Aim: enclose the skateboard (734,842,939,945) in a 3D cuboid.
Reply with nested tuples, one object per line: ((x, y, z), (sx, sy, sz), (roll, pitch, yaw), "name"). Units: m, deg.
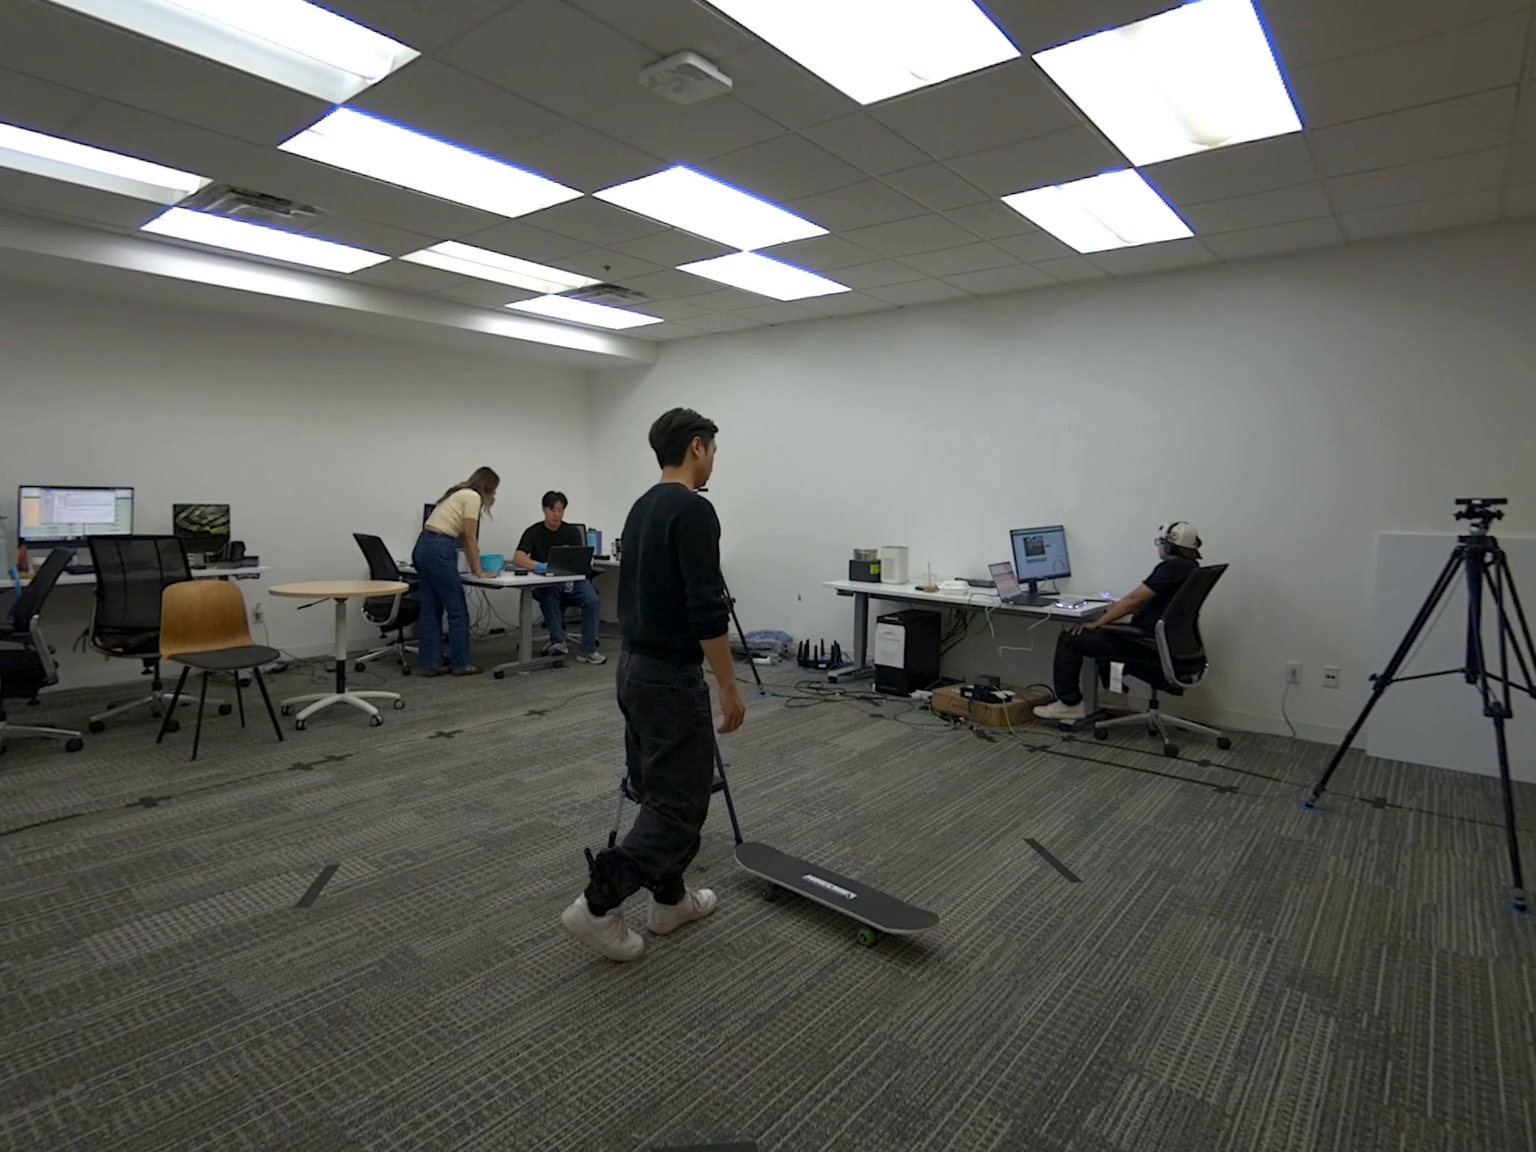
((0.194, 1.055, 2.801), (0.813, 0.110, 0.188), (7, 7, 42), "skateboard")
